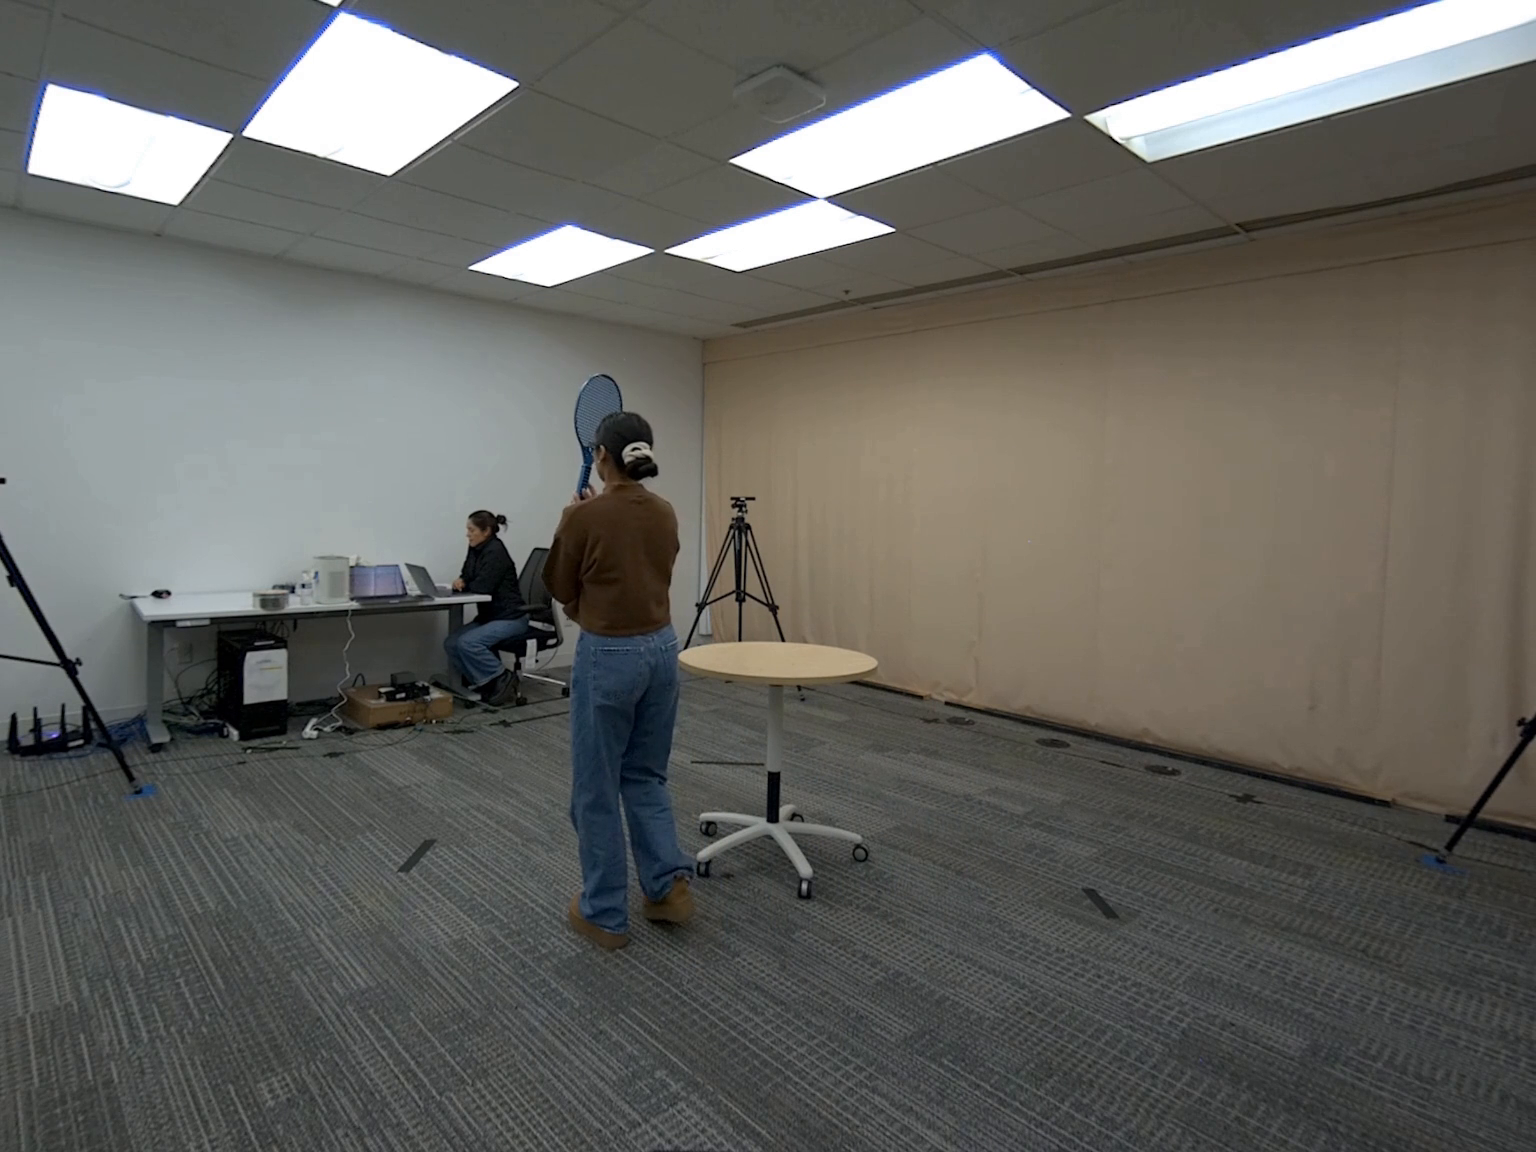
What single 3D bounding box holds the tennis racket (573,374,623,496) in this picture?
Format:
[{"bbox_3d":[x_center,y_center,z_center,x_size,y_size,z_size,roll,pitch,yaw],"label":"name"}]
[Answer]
[{"bbox_3d":[-0.591,-0.462,2.790,0.032,0.434,0.208,8,-5,32],"label":"tennis racket"}]
